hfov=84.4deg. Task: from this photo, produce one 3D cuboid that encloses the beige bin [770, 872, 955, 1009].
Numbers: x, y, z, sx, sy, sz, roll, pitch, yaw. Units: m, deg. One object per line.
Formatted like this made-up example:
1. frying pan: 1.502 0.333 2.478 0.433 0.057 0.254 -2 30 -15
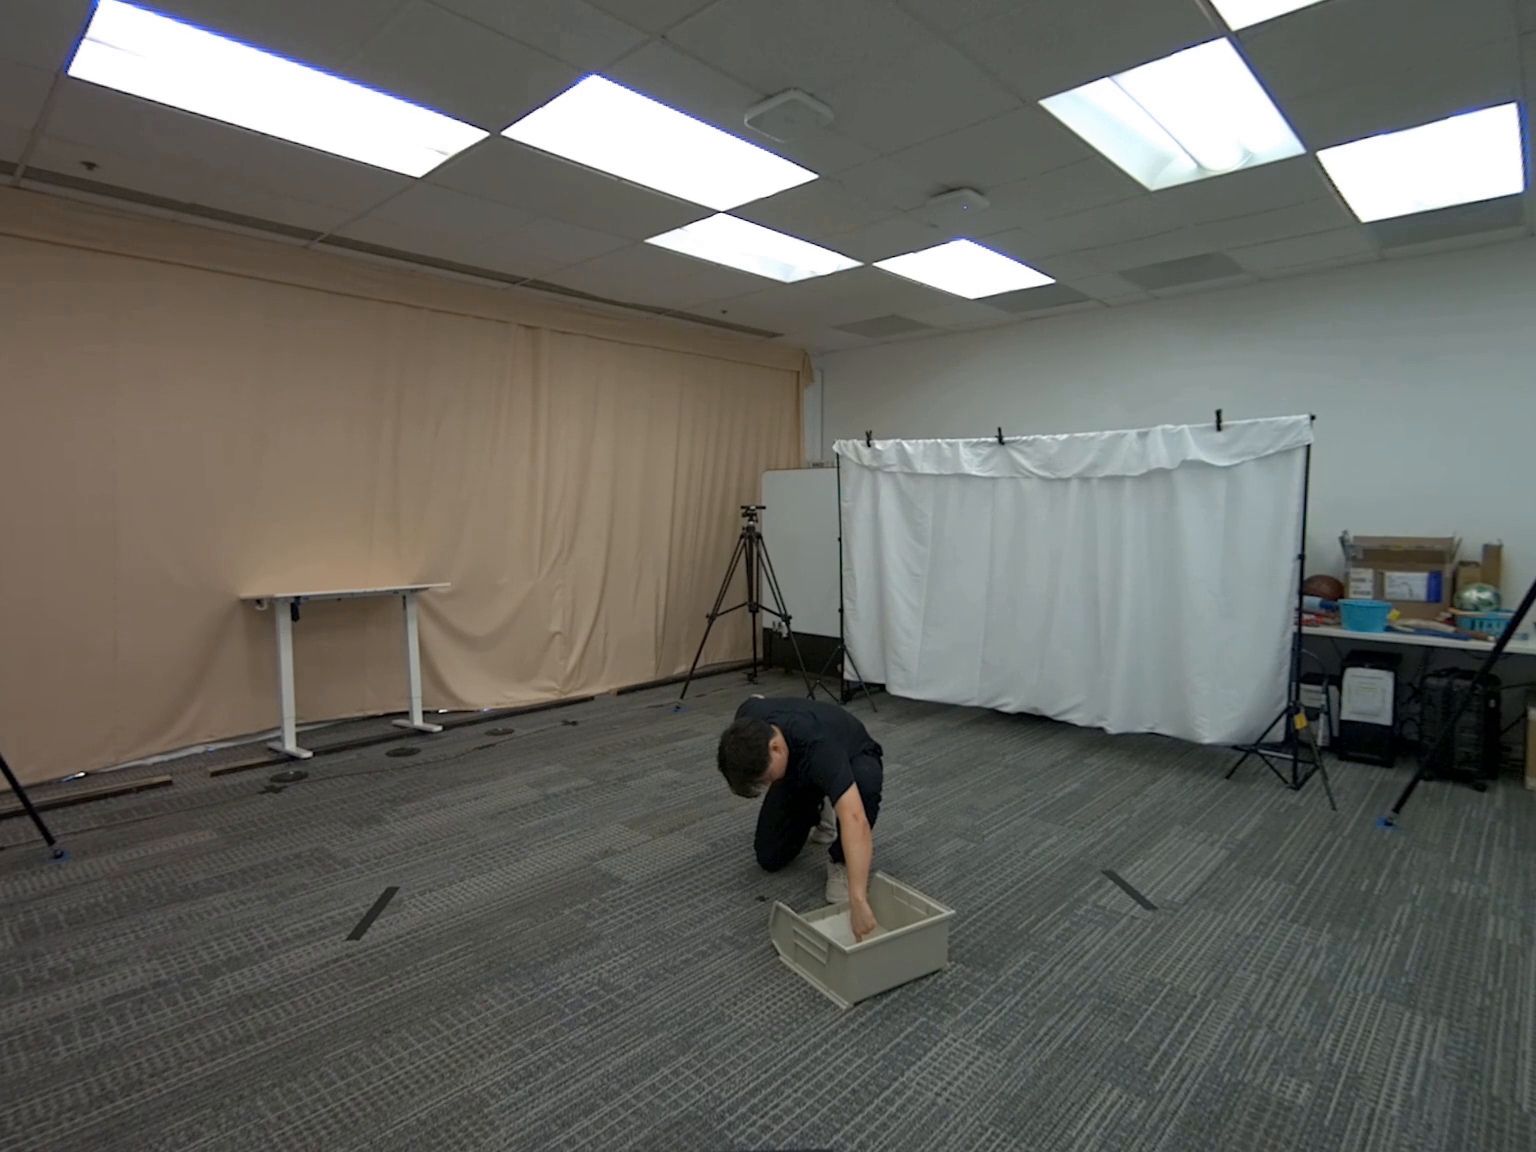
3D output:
1. beige bin: 0.281 1.082 2.574 0.410 0.188 0.389 -2 5 -33
